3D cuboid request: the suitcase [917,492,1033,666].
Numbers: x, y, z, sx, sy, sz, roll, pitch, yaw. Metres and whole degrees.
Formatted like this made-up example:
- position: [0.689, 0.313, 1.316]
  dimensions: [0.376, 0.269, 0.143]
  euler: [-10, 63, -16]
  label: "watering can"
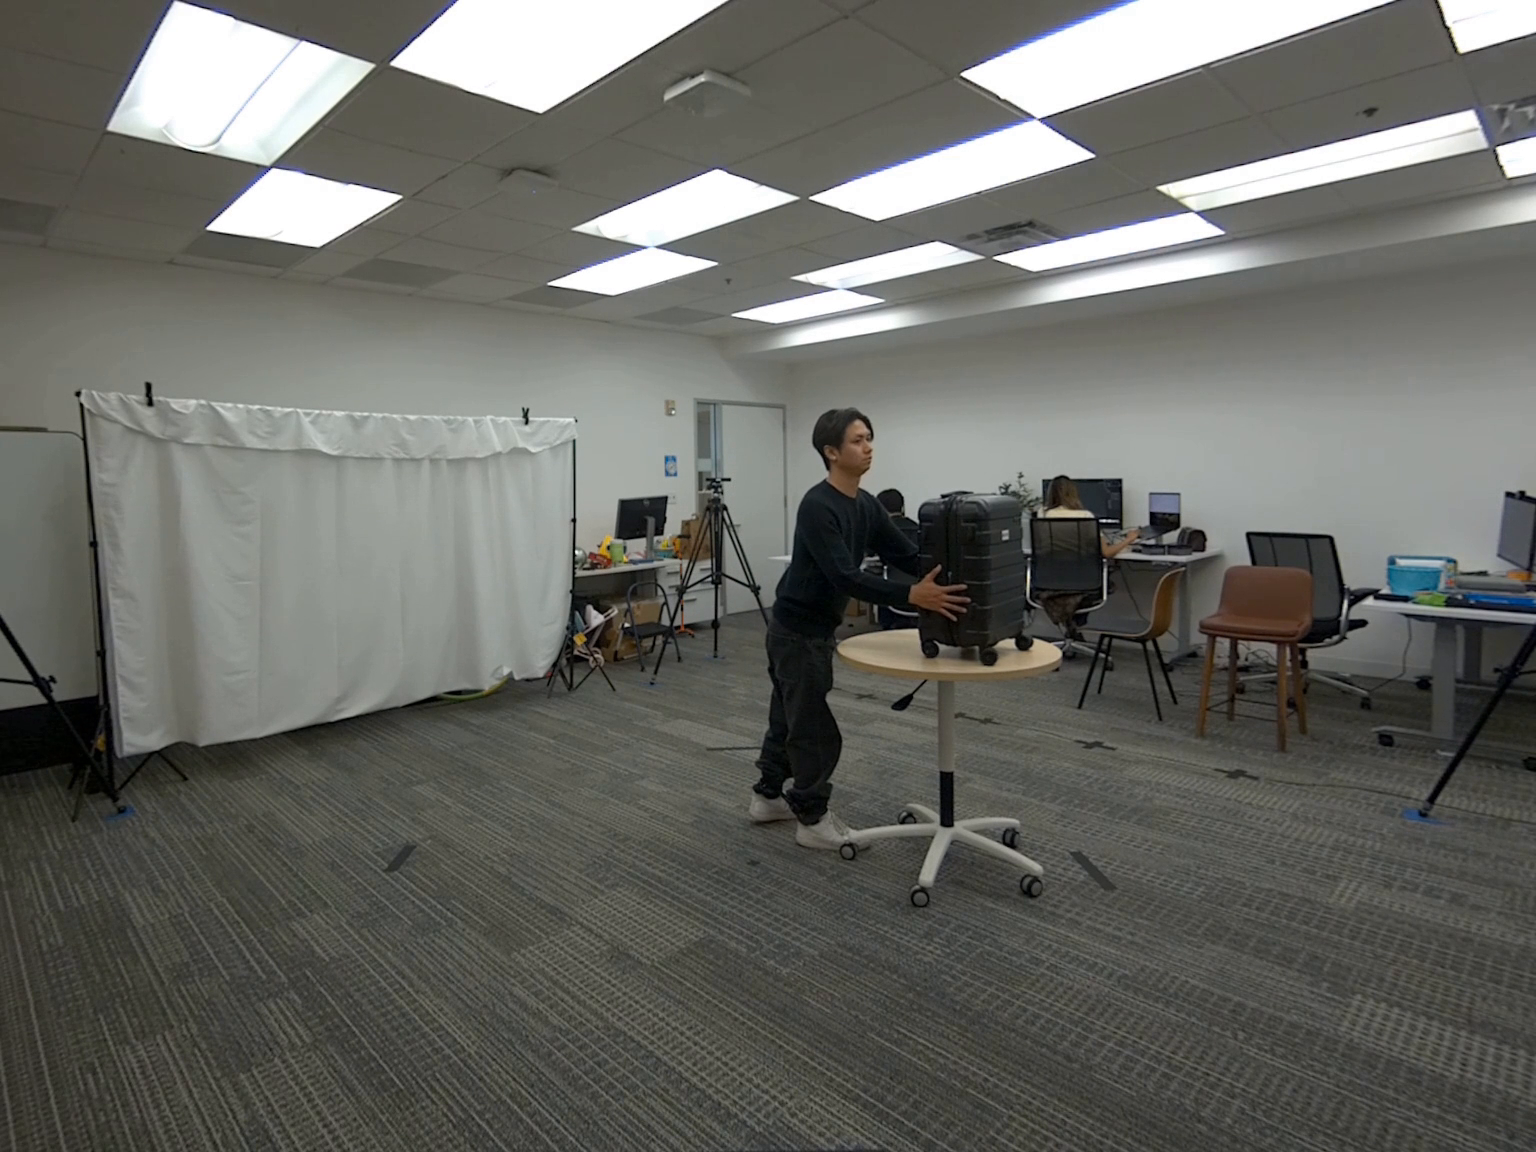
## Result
- position: [0.702, -0.012, 2.910]
  dimensions: [0.255, 0.547, 0.366]
  euler: [1, 5, 40]
  label: "suitcase"
